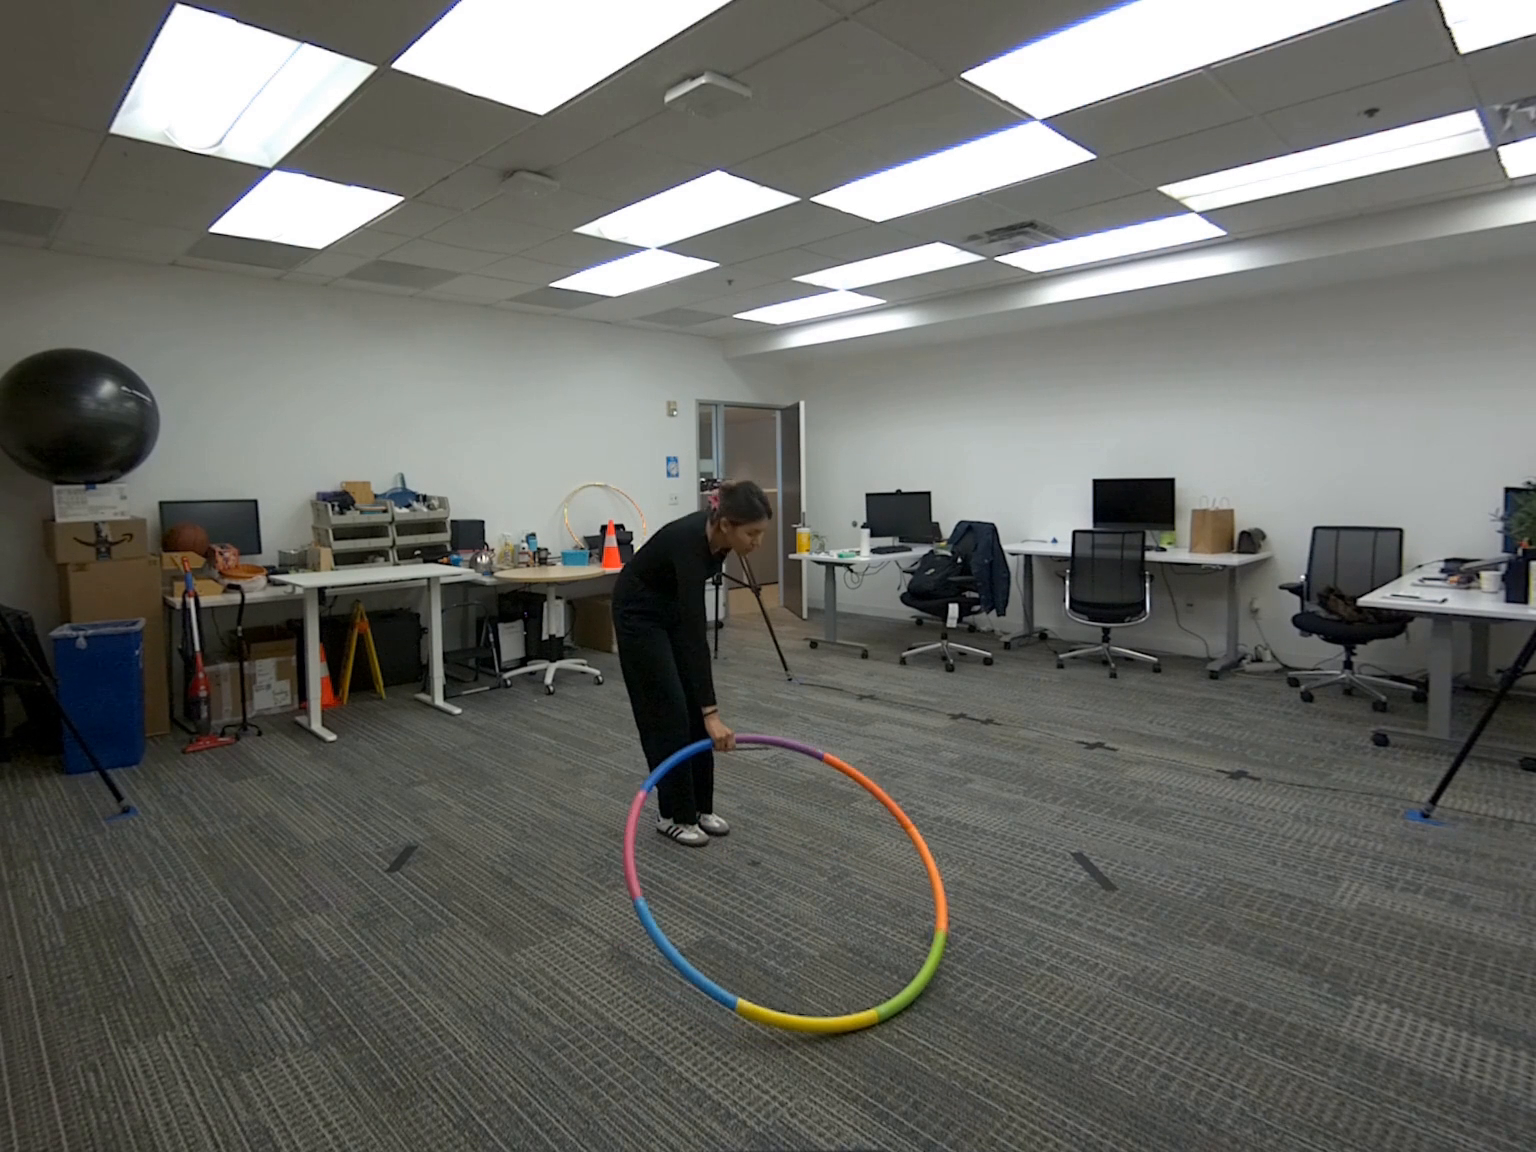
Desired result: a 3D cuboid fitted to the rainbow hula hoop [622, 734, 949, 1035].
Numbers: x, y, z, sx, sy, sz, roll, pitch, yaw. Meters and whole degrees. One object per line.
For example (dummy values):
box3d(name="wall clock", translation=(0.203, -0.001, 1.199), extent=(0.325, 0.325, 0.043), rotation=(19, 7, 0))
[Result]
box3d(name="rainbow hula hoop", translation=(0.060, 0.839, 2.536), extent=(0.970, 0.035, 1.004), rotation=(10, 32, -8))
